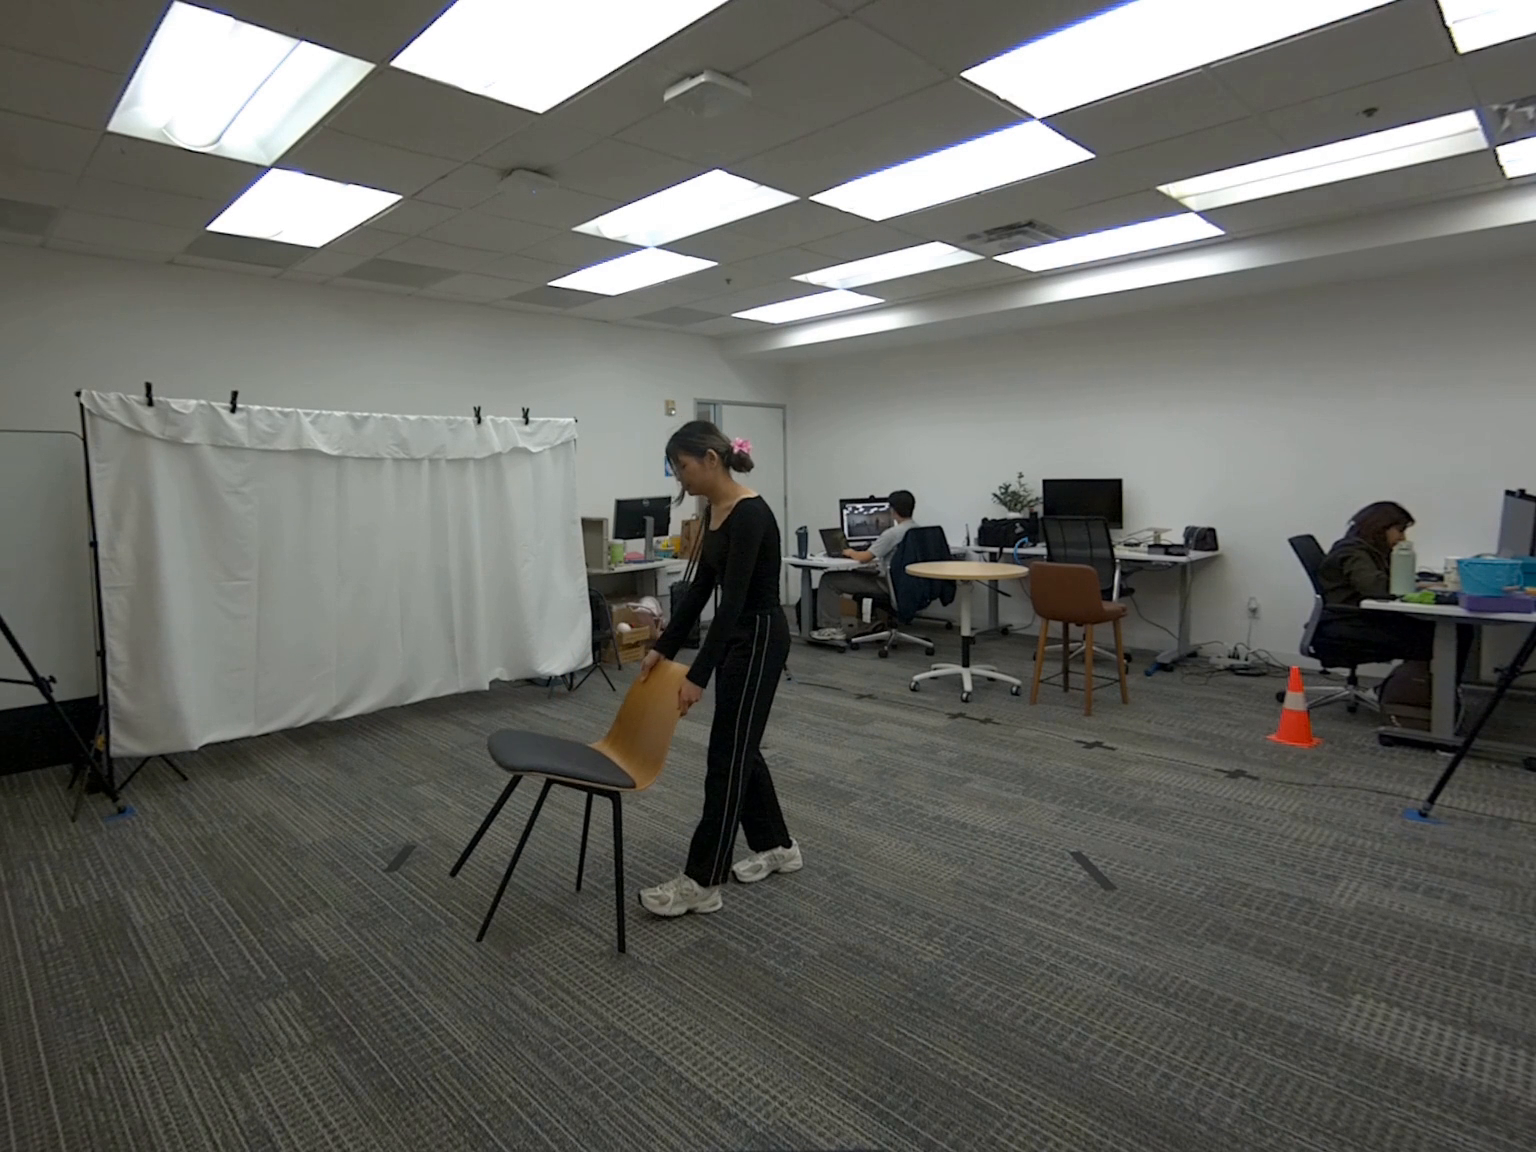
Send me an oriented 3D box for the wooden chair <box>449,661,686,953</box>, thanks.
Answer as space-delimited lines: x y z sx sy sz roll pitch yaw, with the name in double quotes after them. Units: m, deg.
-0.606 0.629 2.654 0.508 0.880 0.491 23 -7 -28 "wooden chair"
